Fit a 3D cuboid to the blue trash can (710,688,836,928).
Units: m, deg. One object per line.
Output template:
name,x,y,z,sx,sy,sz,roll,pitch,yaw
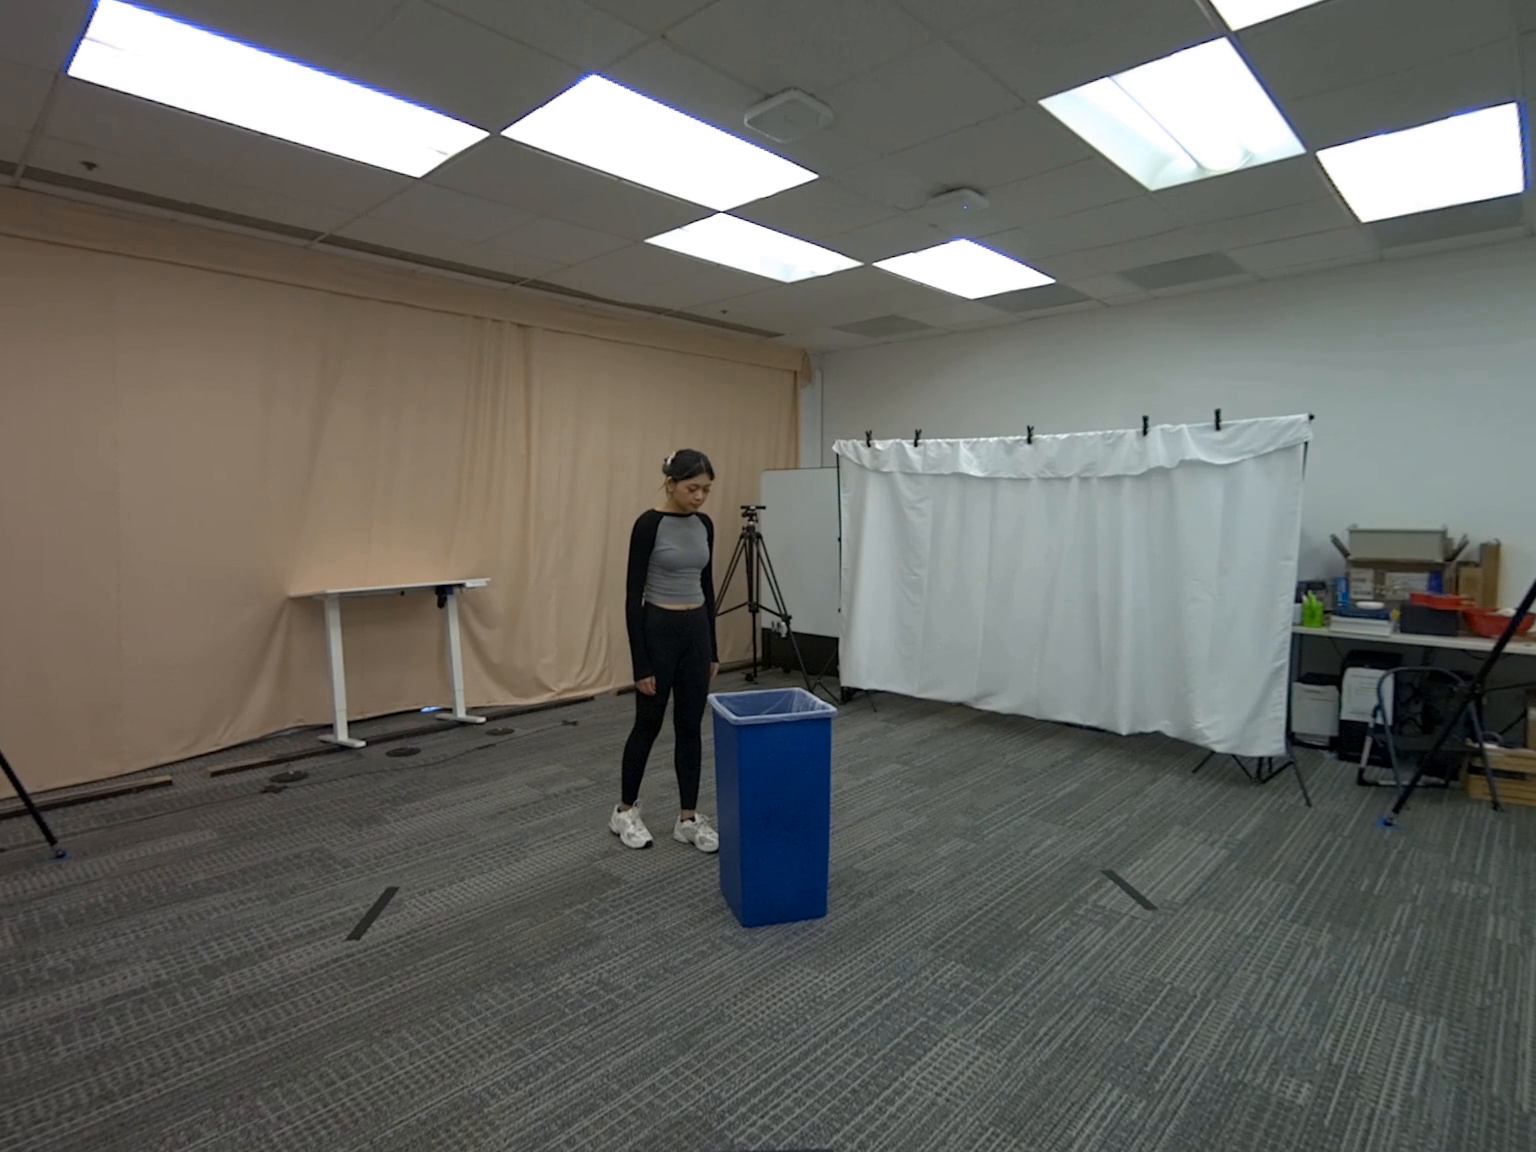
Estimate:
blue trash can,0.008,0.790,2.941,0.371,0.712,0.382,-2,4,-18
